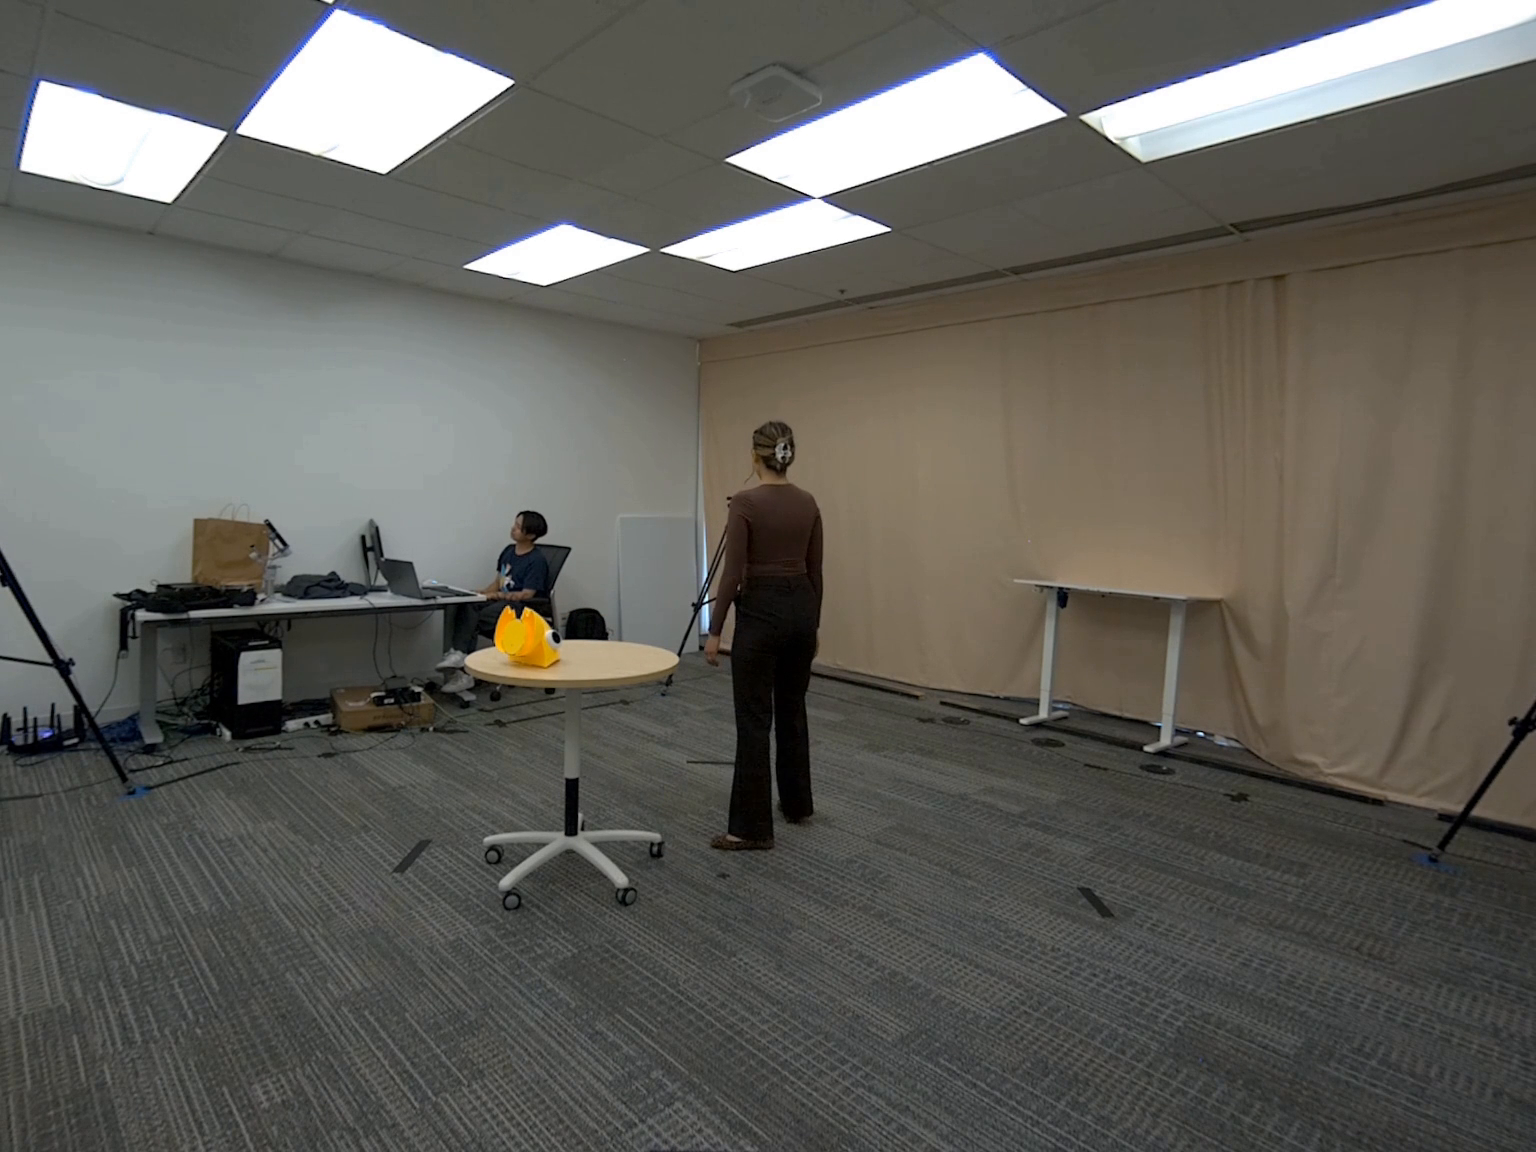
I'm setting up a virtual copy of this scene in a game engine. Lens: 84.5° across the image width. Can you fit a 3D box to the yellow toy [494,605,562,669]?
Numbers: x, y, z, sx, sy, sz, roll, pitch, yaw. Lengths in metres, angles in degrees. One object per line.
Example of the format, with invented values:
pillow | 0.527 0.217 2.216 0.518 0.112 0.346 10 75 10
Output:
yellow toy | -0.812 0.221 2.953 0.210 0.194 0.224 5 -8 35
